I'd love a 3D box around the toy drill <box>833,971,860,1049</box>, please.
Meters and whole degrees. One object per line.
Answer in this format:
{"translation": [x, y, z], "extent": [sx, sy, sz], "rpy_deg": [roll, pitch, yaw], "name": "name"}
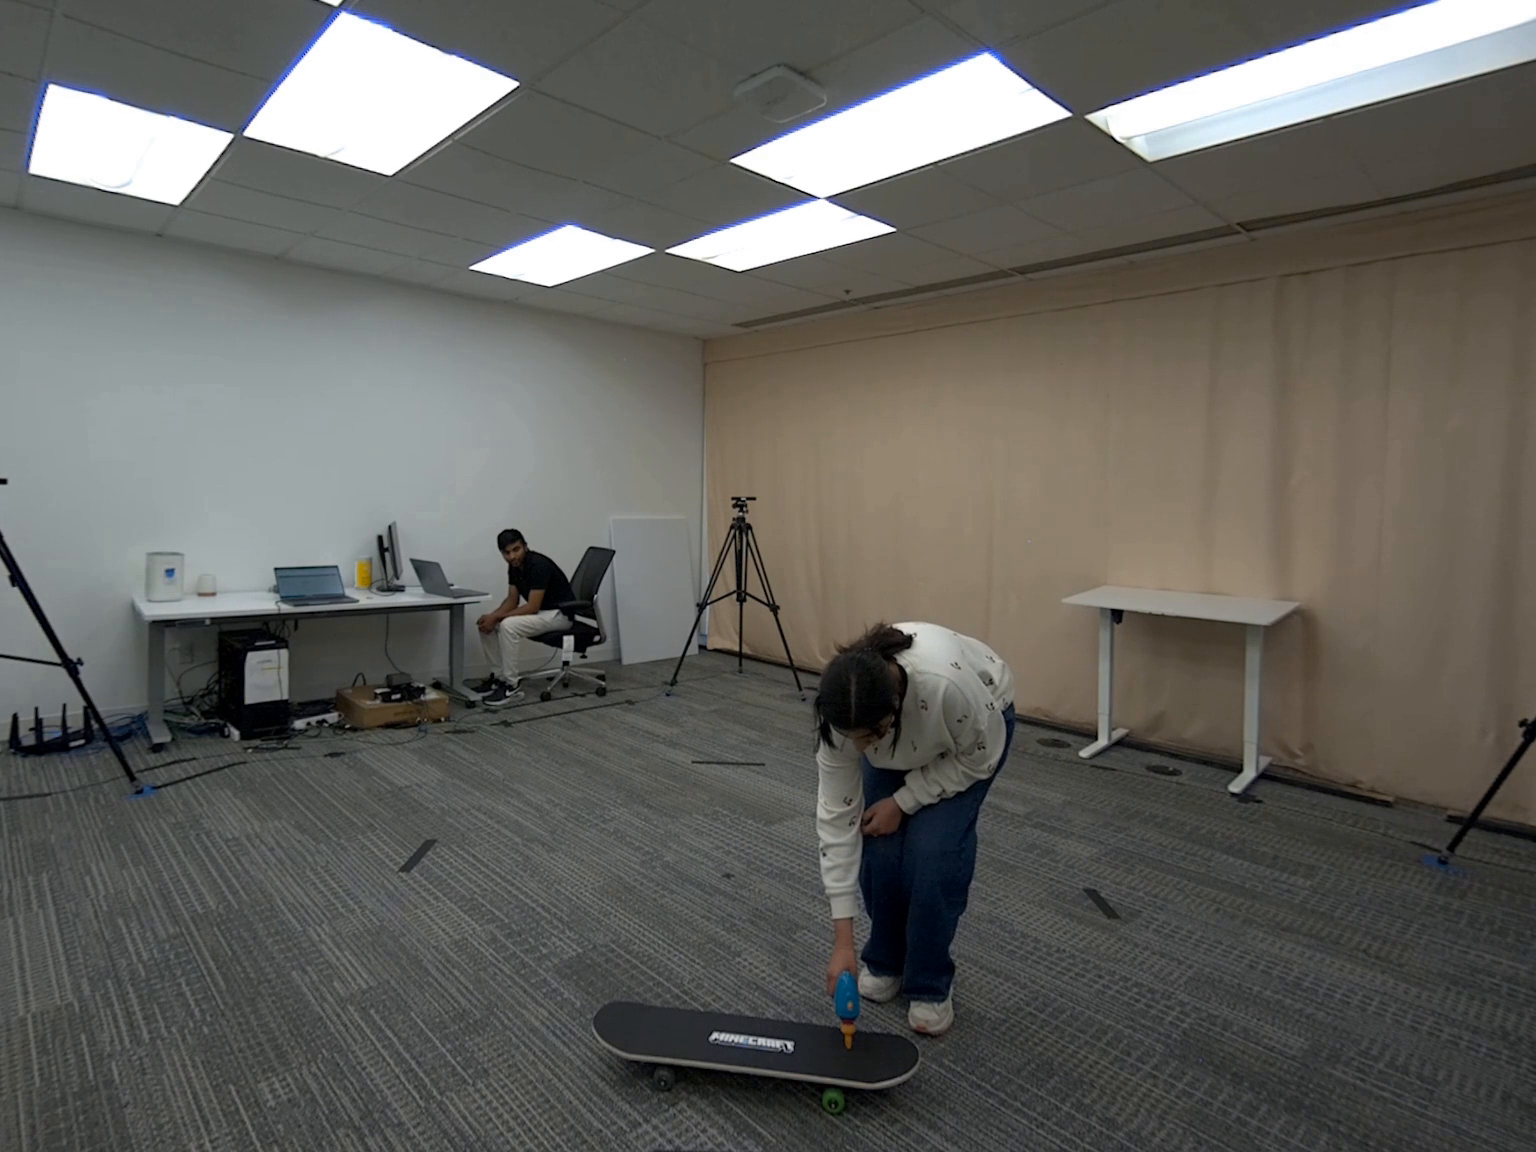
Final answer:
{"translation": [0.179, 1.058, 2.056], "extent": [0.061, 0.171, 0.145], "rpy_deg": [-1, -10, -7], "name": "toy drill"}
